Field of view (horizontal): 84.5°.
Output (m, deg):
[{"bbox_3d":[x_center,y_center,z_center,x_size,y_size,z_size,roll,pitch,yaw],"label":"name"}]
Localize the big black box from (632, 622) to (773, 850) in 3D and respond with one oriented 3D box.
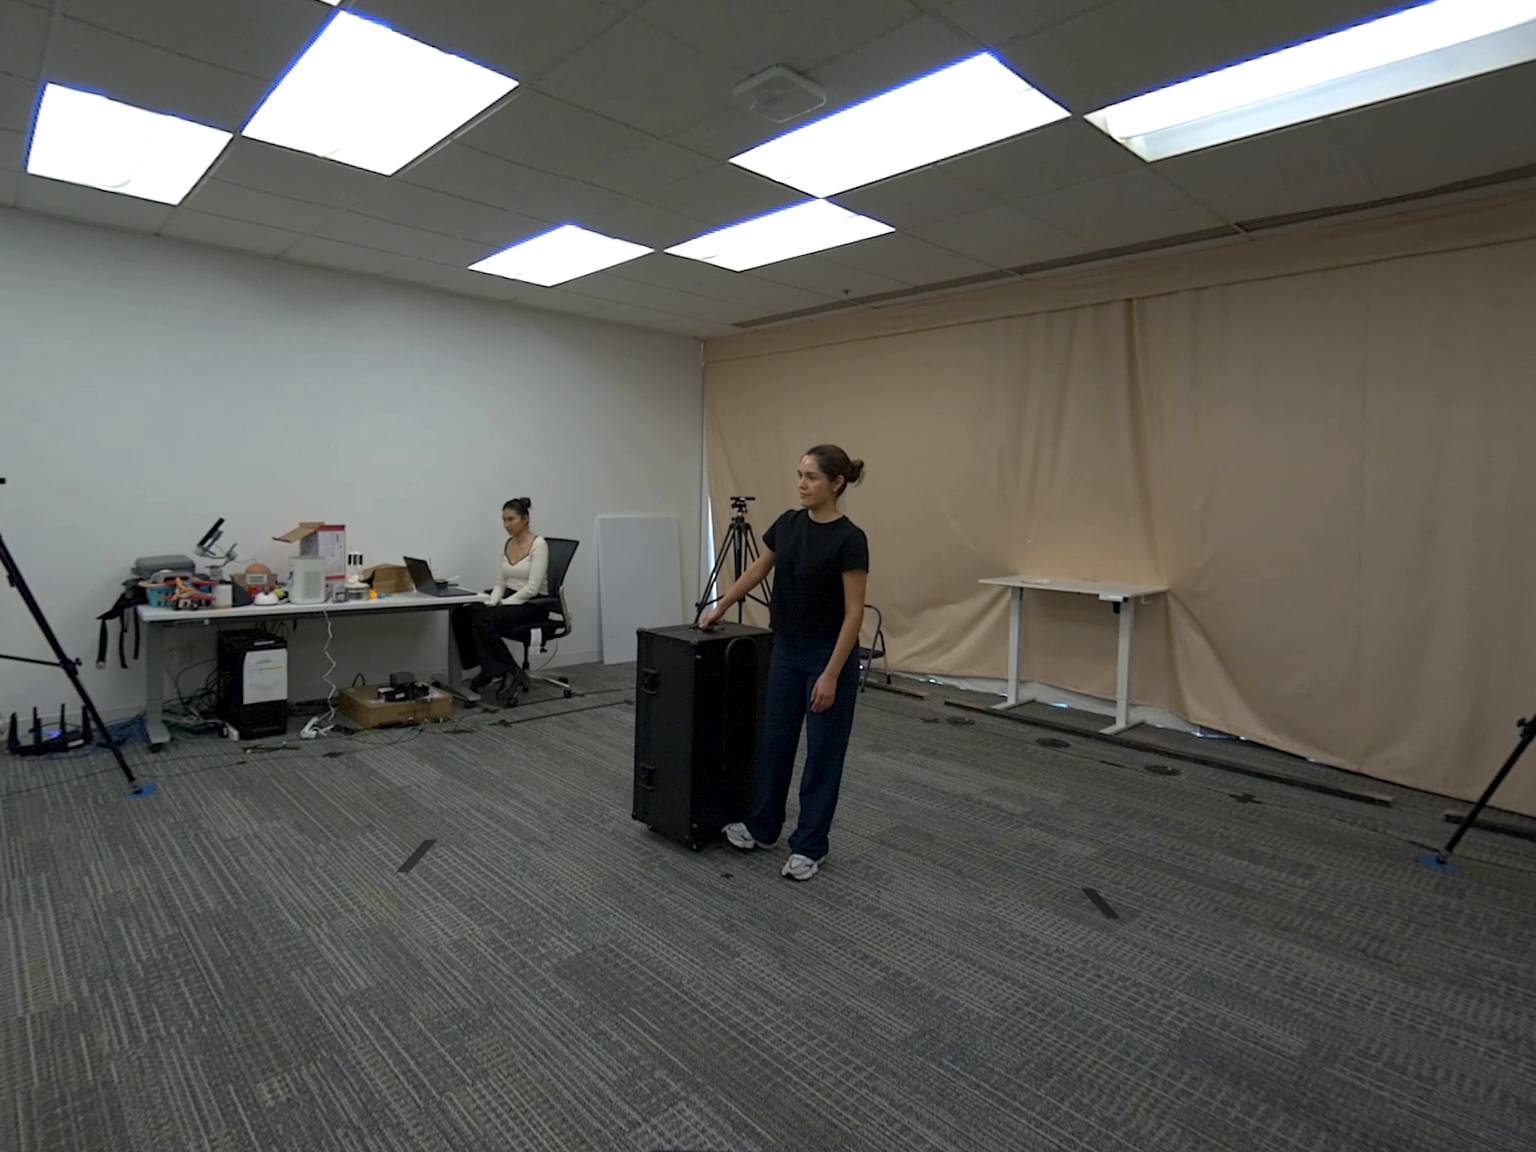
[{"bbox_3d":[-0.247,0.648,3.466,0.406,0.859,0.509,6,5,44],"label":"big black box"}]
